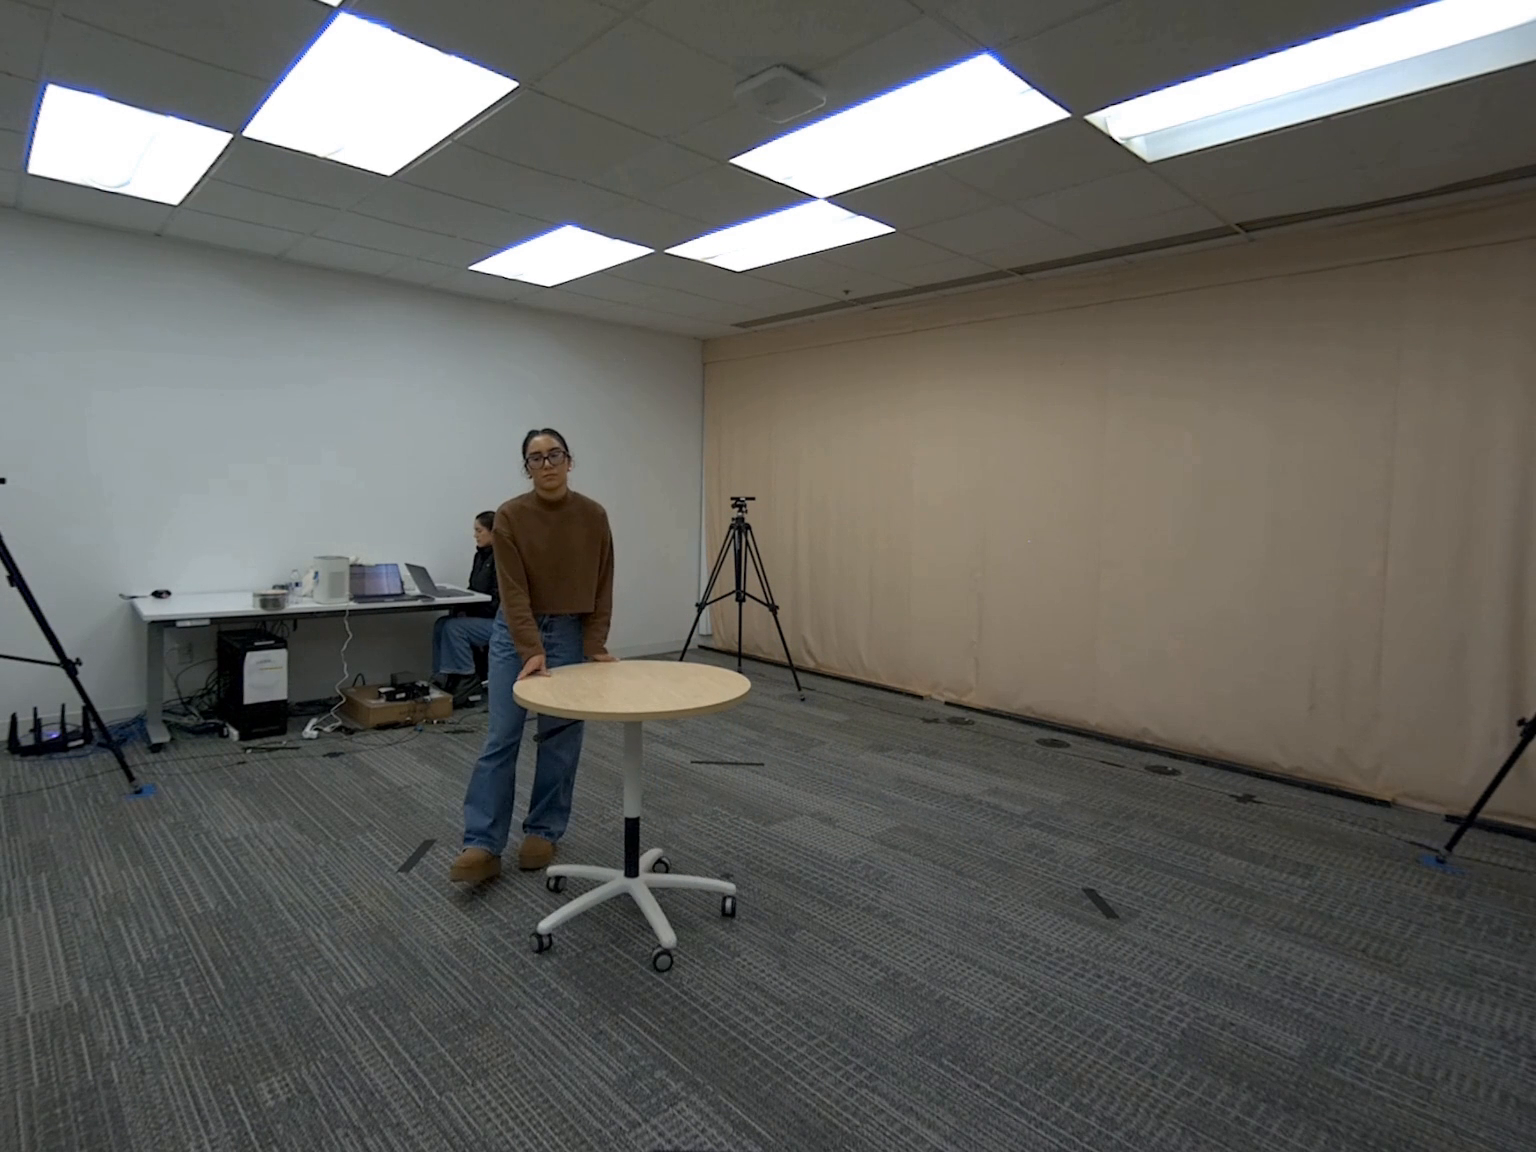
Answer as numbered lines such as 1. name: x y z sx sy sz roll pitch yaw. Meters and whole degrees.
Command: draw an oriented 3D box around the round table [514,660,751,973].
1. round table: -0.467 0.738 2.760 0.784 0.784 0.788 1 4 -1
